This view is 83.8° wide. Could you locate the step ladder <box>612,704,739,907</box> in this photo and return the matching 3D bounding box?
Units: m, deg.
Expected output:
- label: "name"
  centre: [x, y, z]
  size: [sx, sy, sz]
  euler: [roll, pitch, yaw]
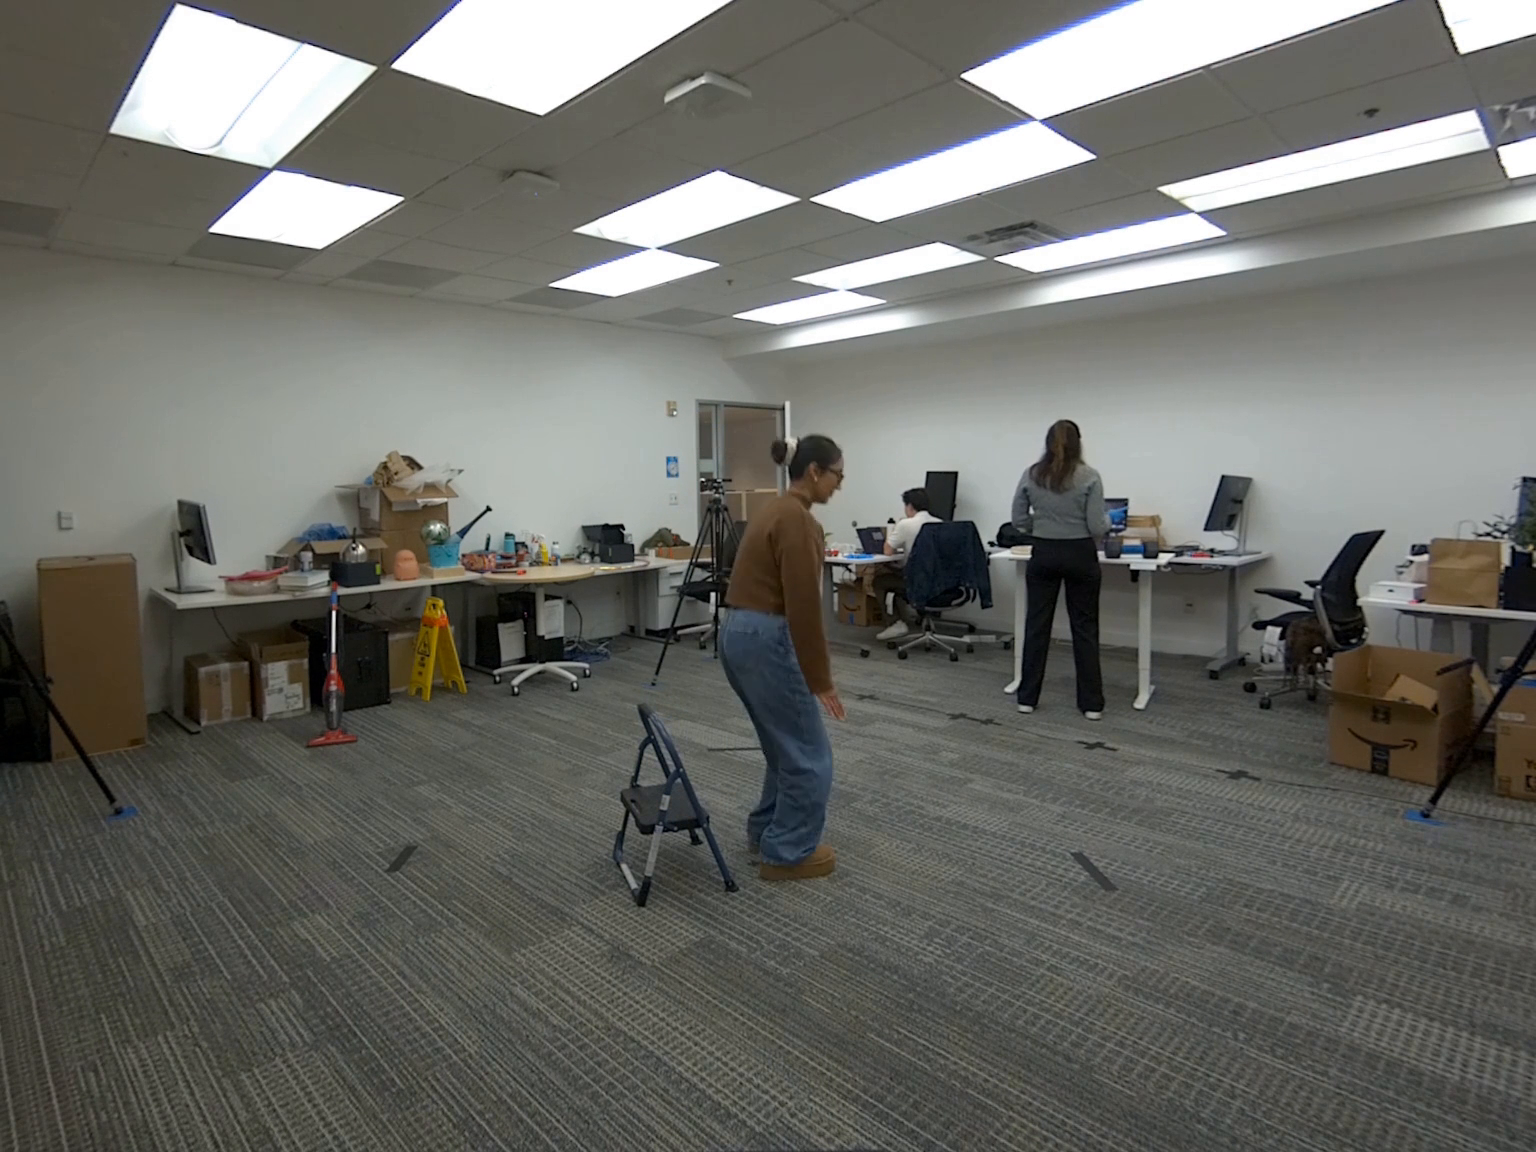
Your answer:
- label: "step ladder"
  centre: [-0.339, 0.758, 3.028]
  size: [0.343, 0.604, 0.440]
  euler: [-2, 5, -22]
